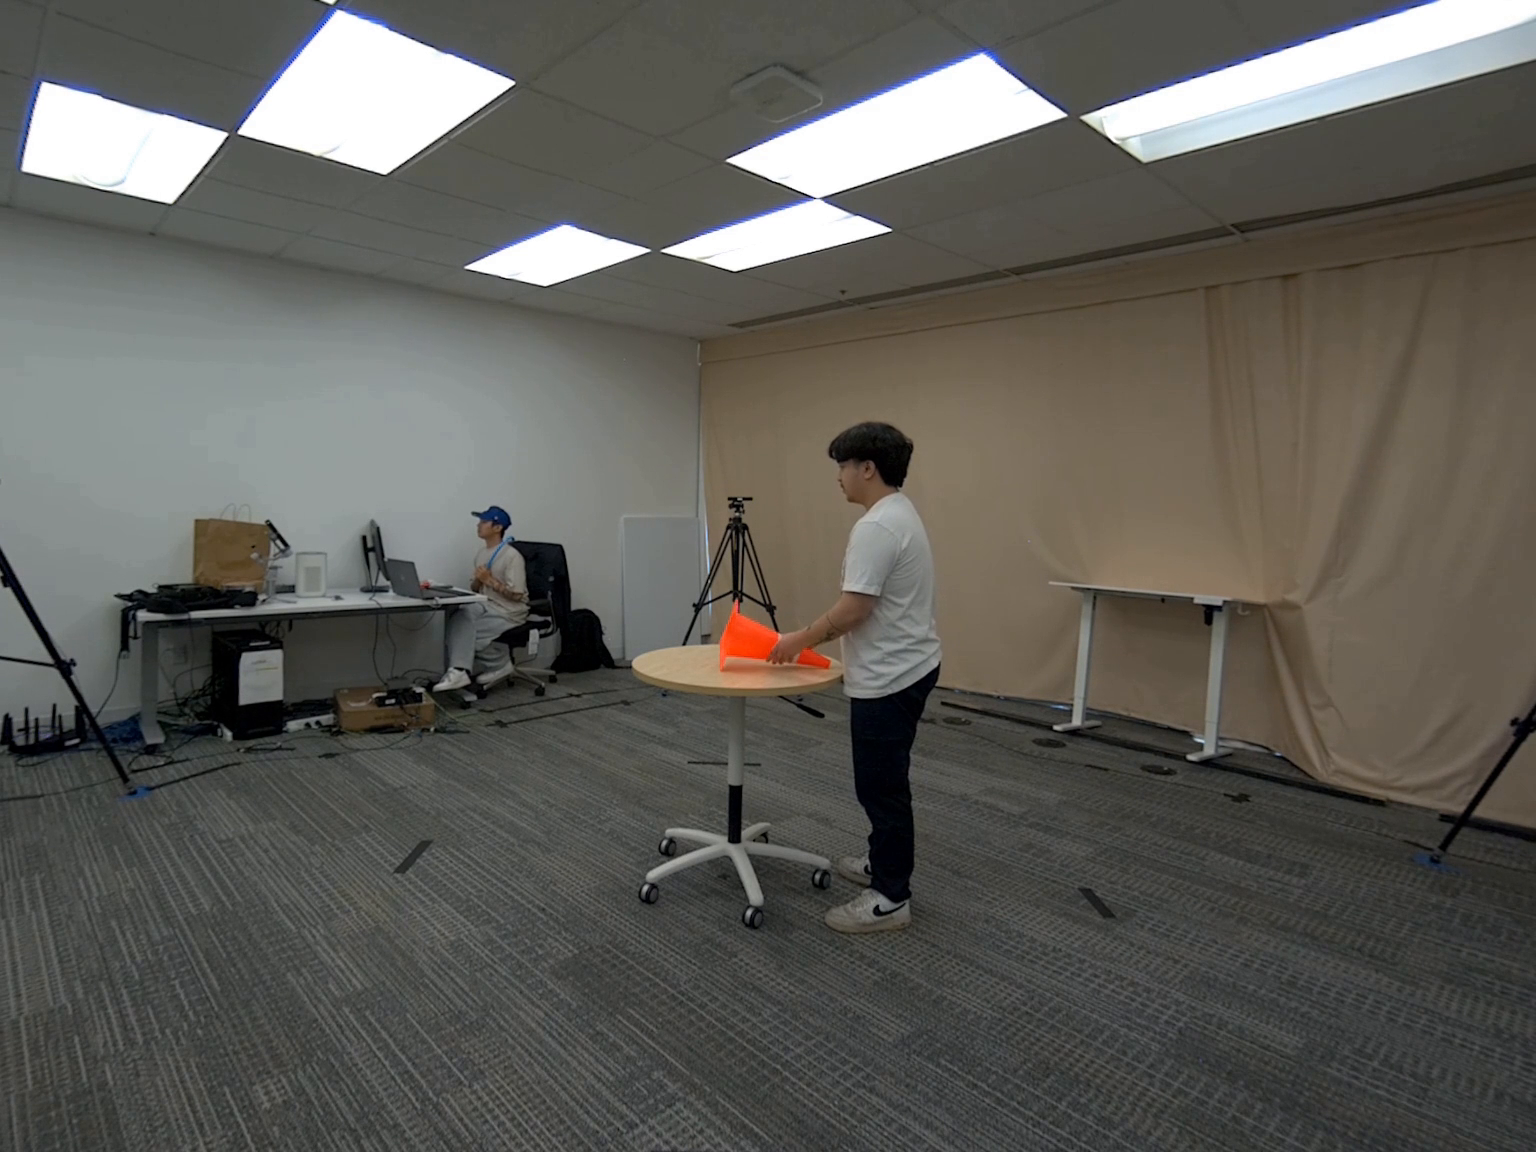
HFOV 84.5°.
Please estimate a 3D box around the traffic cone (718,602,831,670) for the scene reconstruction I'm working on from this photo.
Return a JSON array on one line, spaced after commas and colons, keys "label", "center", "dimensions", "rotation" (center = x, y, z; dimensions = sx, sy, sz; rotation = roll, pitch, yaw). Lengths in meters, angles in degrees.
[{"label": "traffic cone", "center": [0.043, 0.267, 2.980], "dimensions": [0.383, 0.203, 0.205], "rotation": [17, 22, -1]}]
